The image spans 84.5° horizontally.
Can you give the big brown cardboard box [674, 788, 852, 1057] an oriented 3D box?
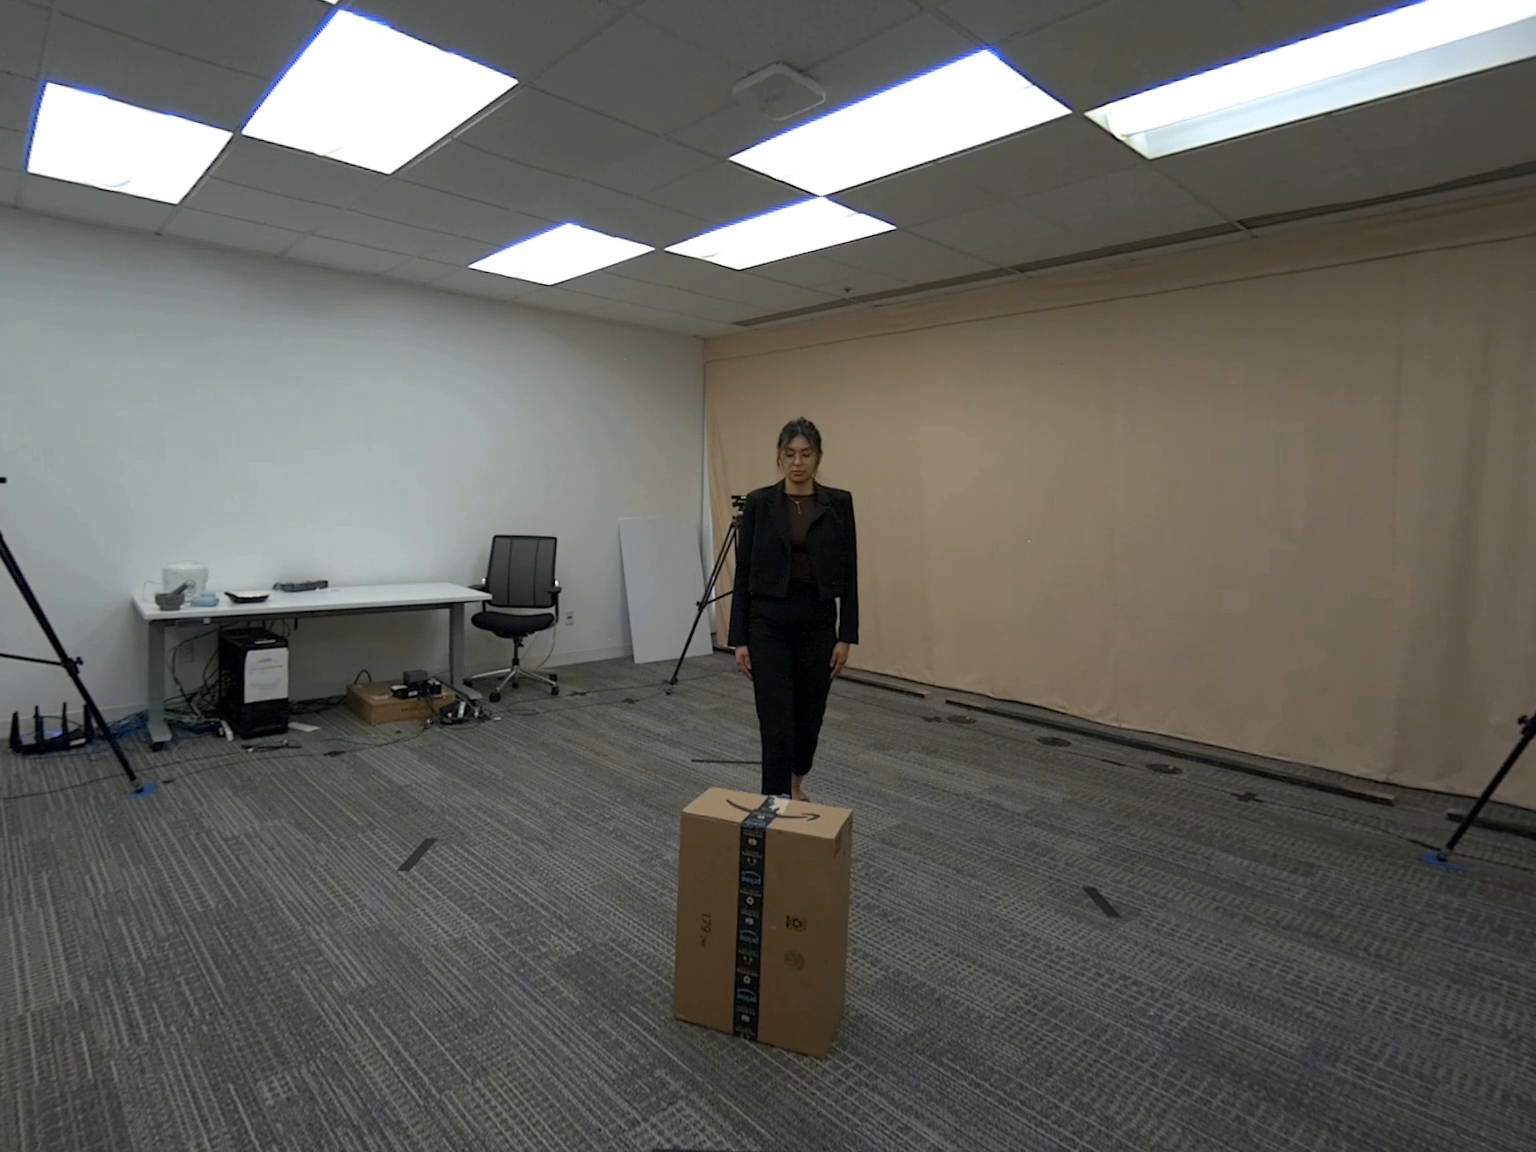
[{"bbox_3d":[-0.015,0.910,2.241,0.424,0.587,0.230,4,5,20],"label":"big brown cardboard box"}]
